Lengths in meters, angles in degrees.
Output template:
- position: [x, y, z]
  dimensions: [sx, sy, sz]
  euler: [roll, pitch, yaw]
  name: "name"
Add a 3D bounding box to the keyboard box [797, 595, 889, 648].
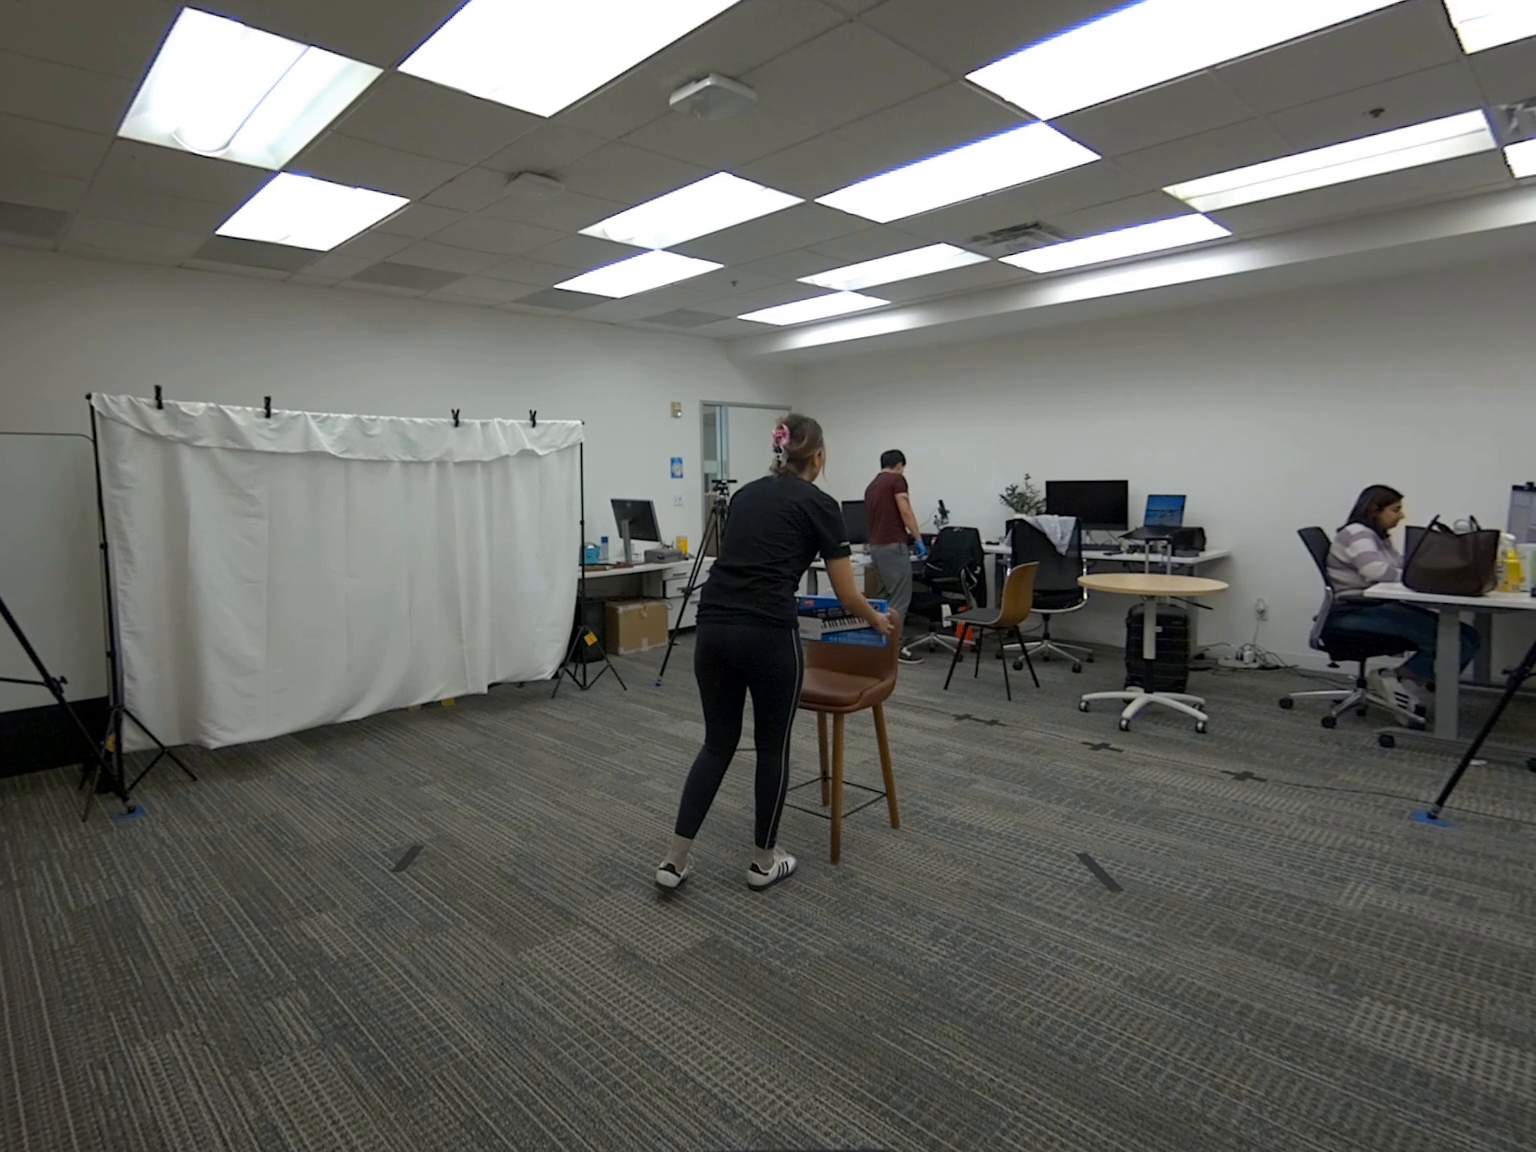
- position: [0.242, 0.170, 3.317]
  dimensions: [0.447, 0.175, 0.058]
  euler: [3, 3, 26]
  name: "keyboard box"
